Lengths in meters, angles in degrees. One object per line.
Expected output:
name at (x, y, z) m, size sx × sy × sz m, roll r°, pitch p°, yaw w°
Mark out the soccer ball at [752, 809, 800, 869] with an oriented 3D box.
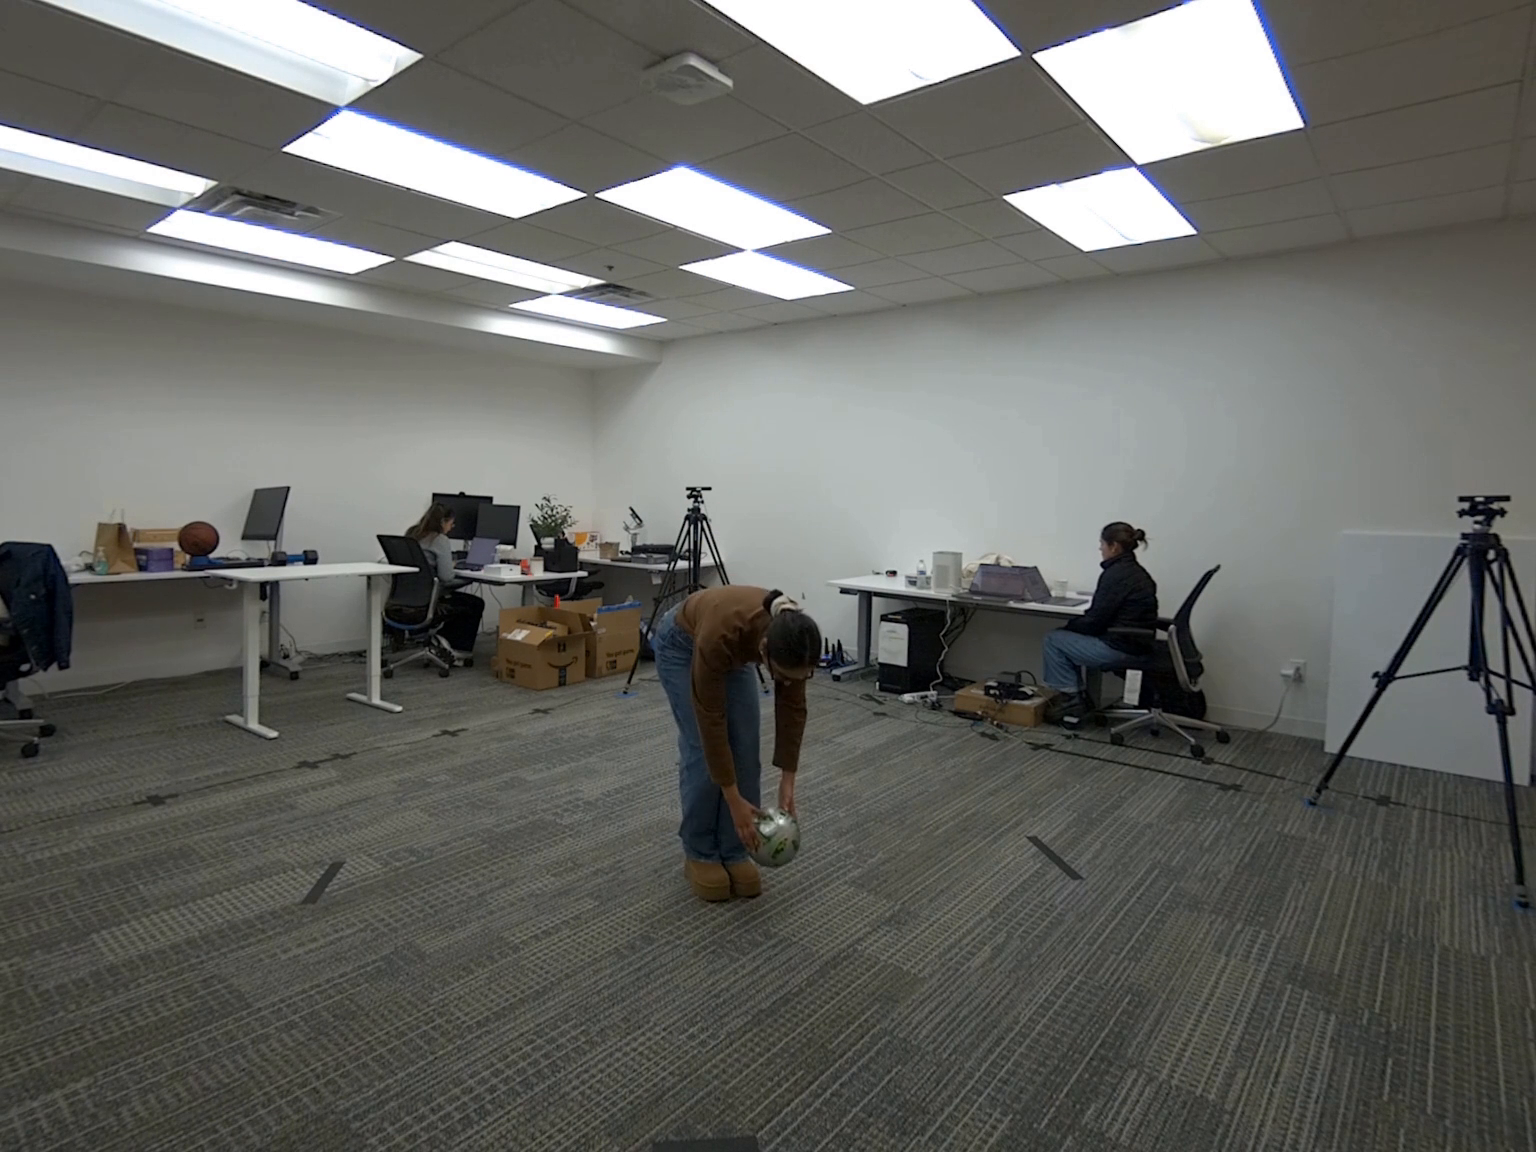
soccer ball at (0.004, 0.848, 2.776) m, size 0.187 × 0.187 × 0.188 m, roll 1°, pitch 4°, yaw -2°
